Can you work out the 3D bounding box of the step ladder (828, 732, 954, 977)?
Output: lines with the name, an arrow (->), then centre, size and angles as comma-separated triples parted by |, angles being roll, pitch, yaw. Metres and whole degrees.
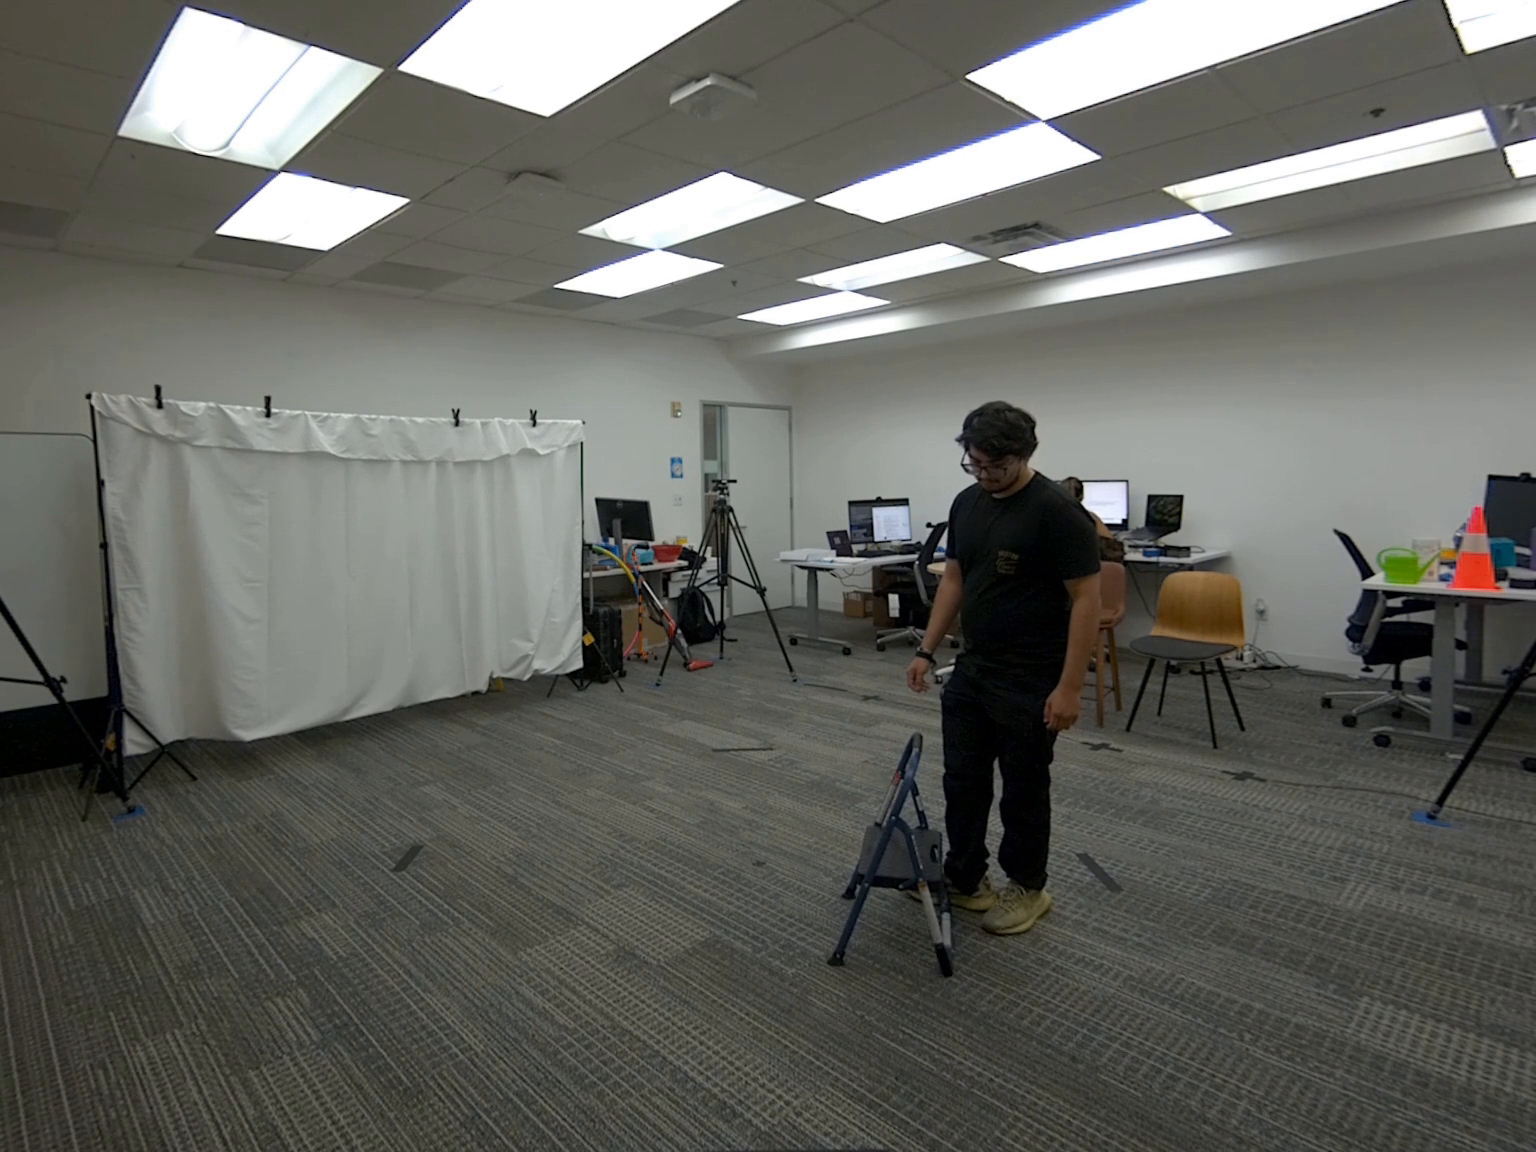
step ladder -> 0.389, 0.800, 2.591 | 0.353, 0.604, 0.427 | 0, 4, 11
